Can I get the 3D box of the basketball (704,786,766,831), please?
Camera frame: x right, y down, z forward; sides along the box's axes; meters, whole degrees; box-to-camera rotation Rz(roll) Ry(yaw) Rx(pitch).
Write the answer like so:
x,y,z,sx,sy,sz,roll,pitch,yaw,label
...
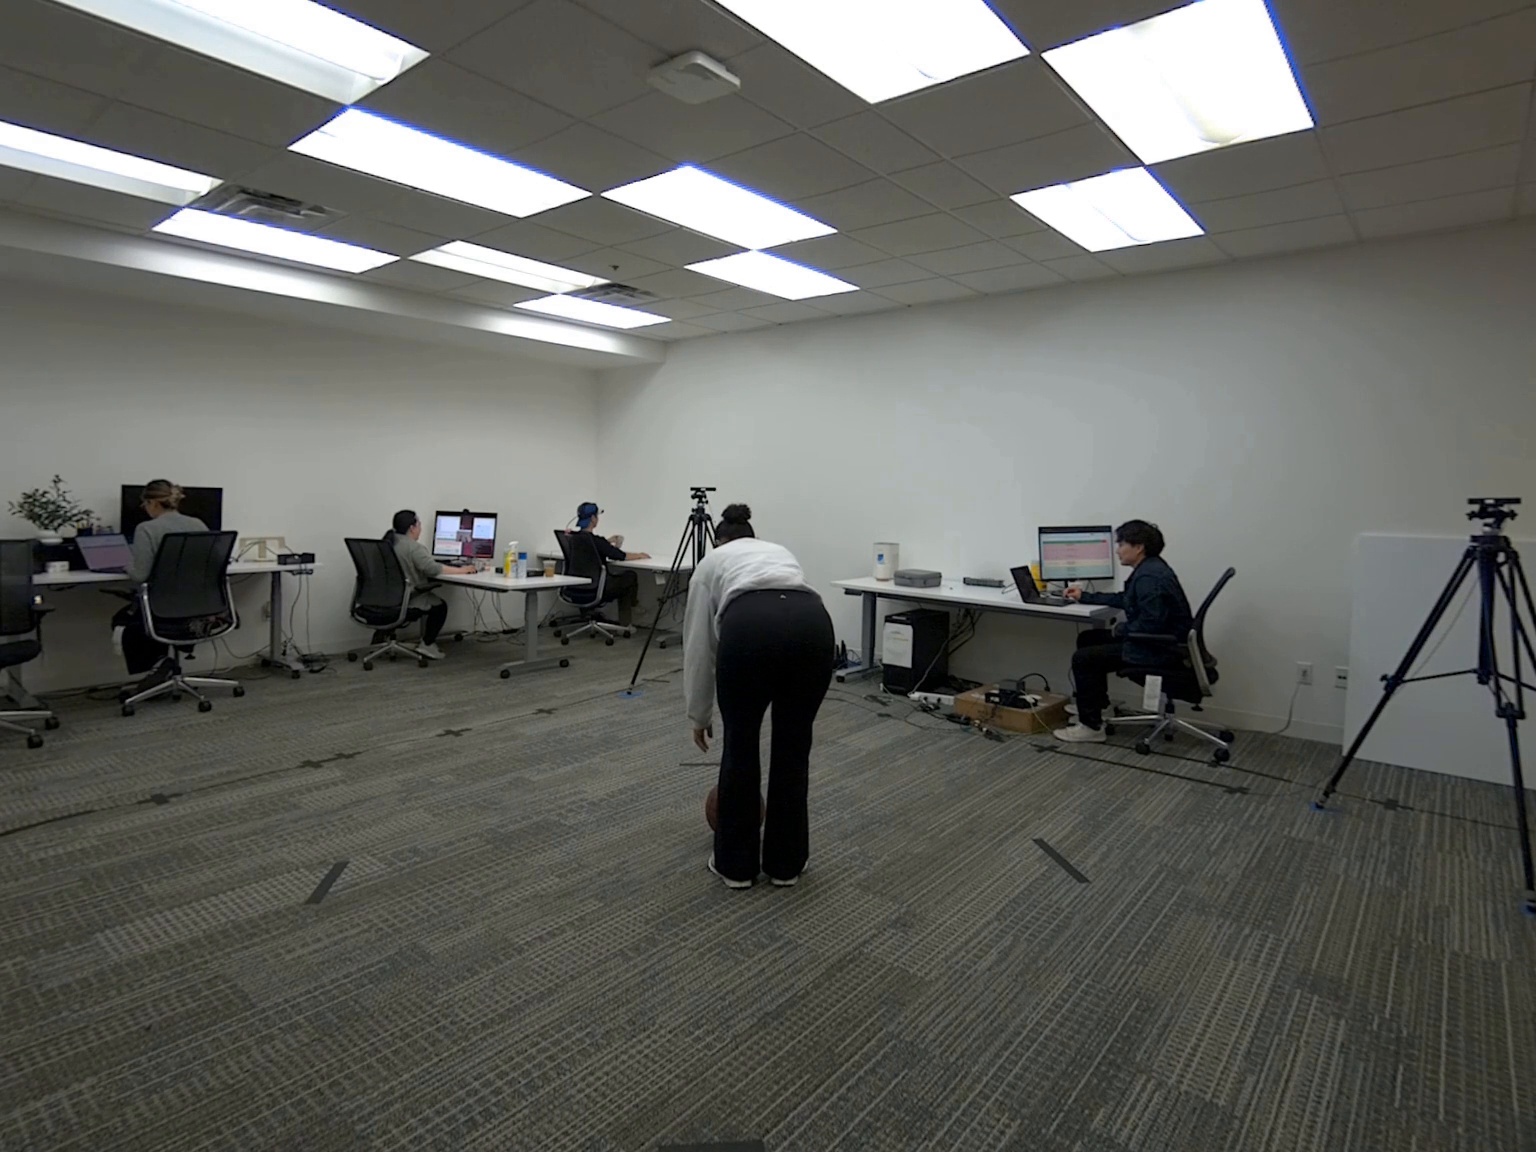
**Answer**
x,y,z,sx,sy,sz,roll,pitch,yaw,label
-0.136,0.917,3.370,0.235,0.235,0.237,1,4,-2,basketball
